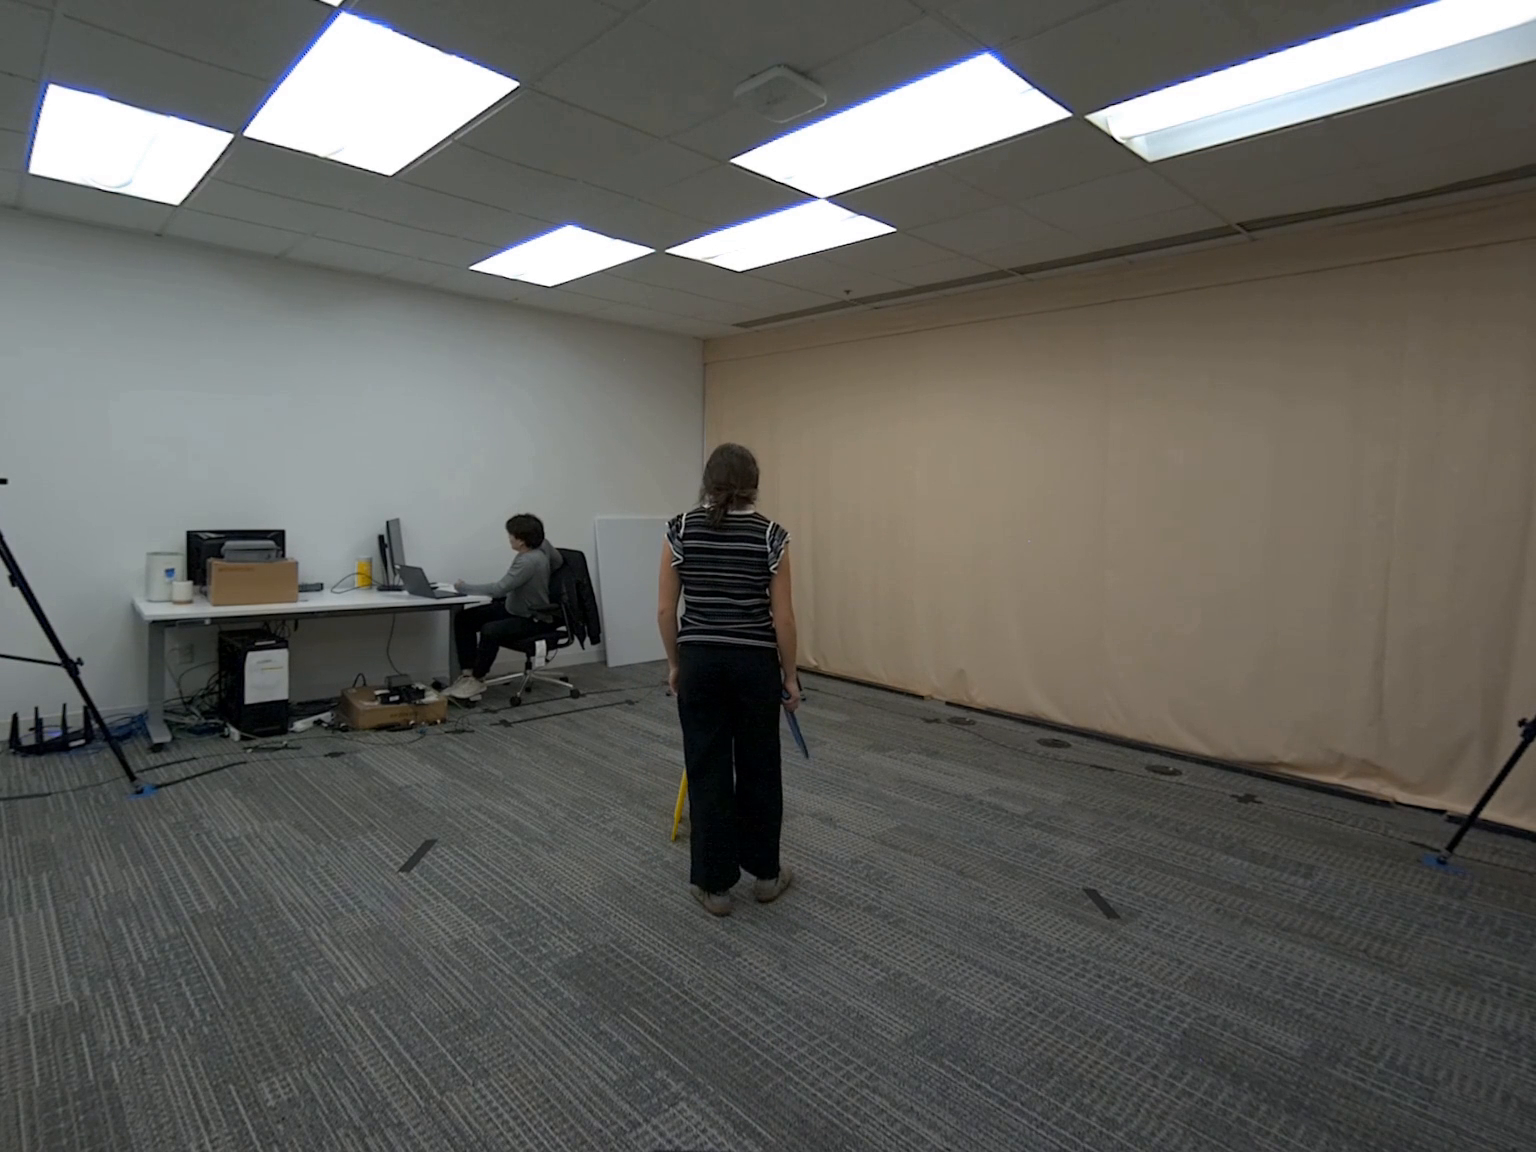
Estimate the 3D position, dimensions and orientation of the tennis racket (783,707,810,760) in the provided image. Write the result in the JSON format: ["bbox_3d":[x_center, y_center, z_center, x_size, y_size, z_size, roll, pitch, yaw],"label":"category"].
[{"bbox_3d":[0.077,0.527,3.052,0.032,0.219,0.421,-19,-35,-1],"label":"tennis racket"}]
